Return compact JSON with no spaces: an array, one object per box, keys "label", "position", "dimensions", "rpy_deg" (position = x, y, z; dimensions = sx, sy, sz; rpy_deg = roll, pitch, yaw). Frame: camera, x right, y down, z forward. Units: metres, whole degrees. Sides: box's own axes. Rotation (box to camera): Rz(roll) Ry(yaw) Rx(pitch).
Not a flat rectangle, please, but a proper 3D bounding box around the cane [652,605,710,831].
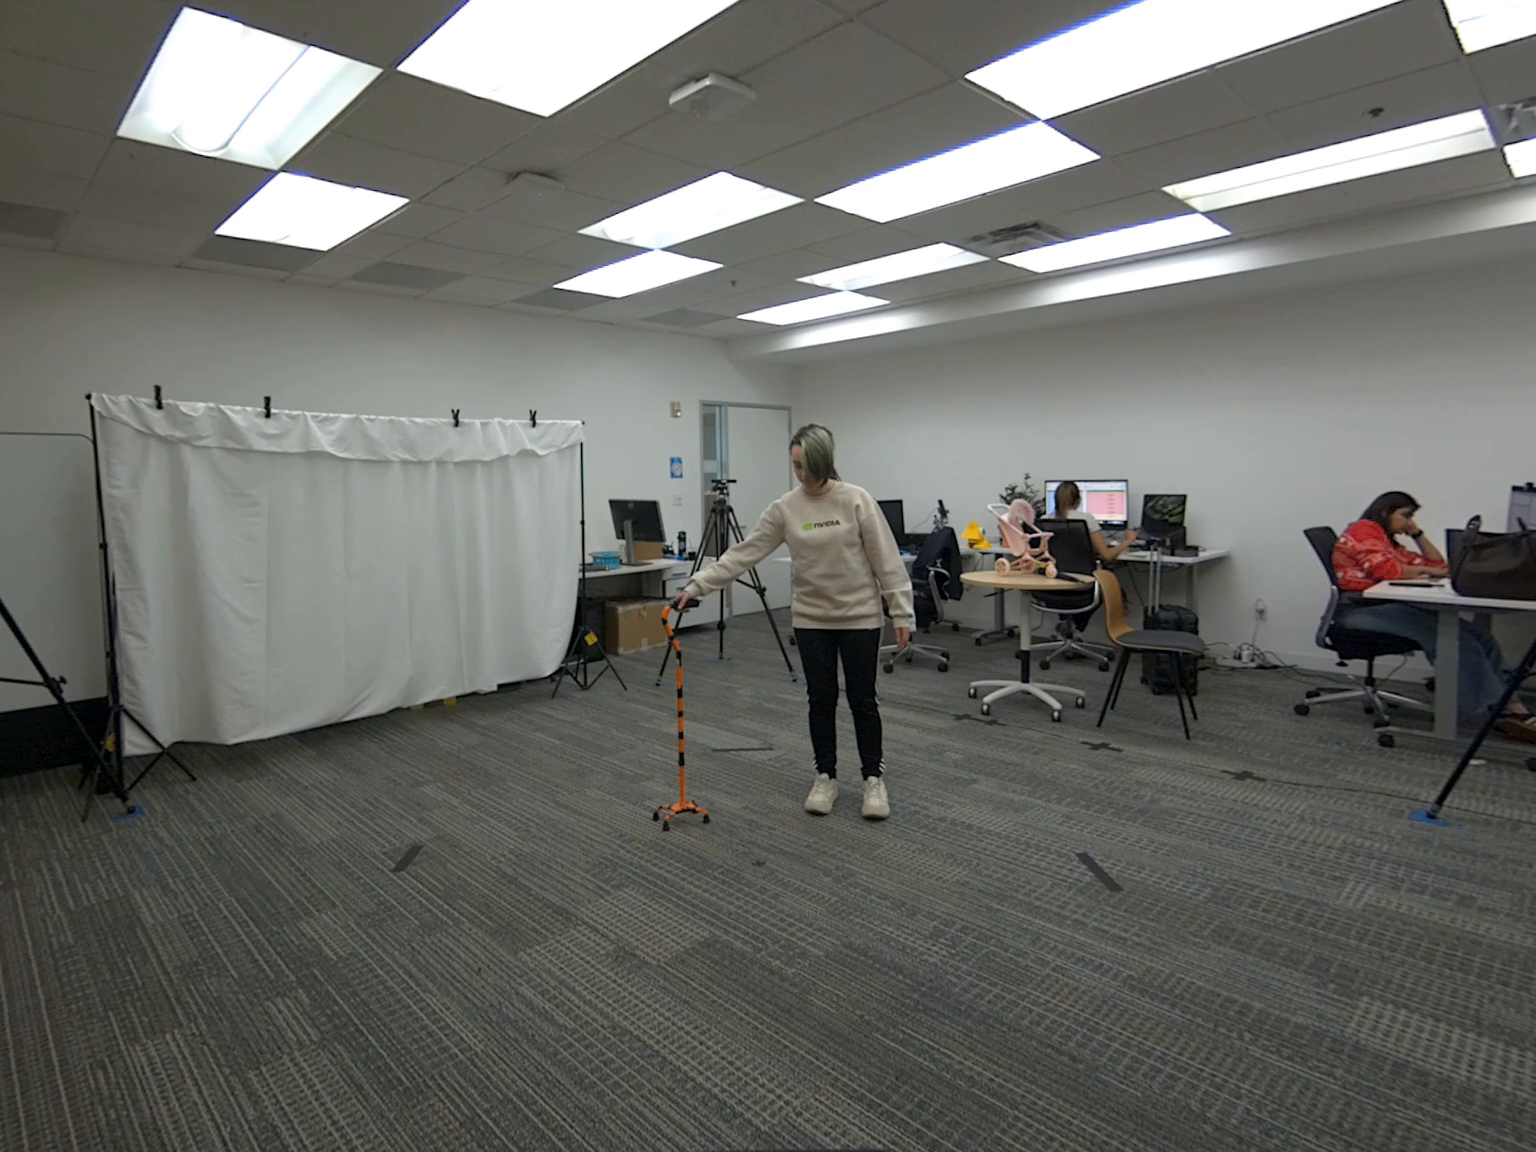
[{"label":"cane","position":[-0.363,0.557,3.497],"dimensions":[0.202,0.905,0.155],"rpy_deg":[-2,3,-26]}]
